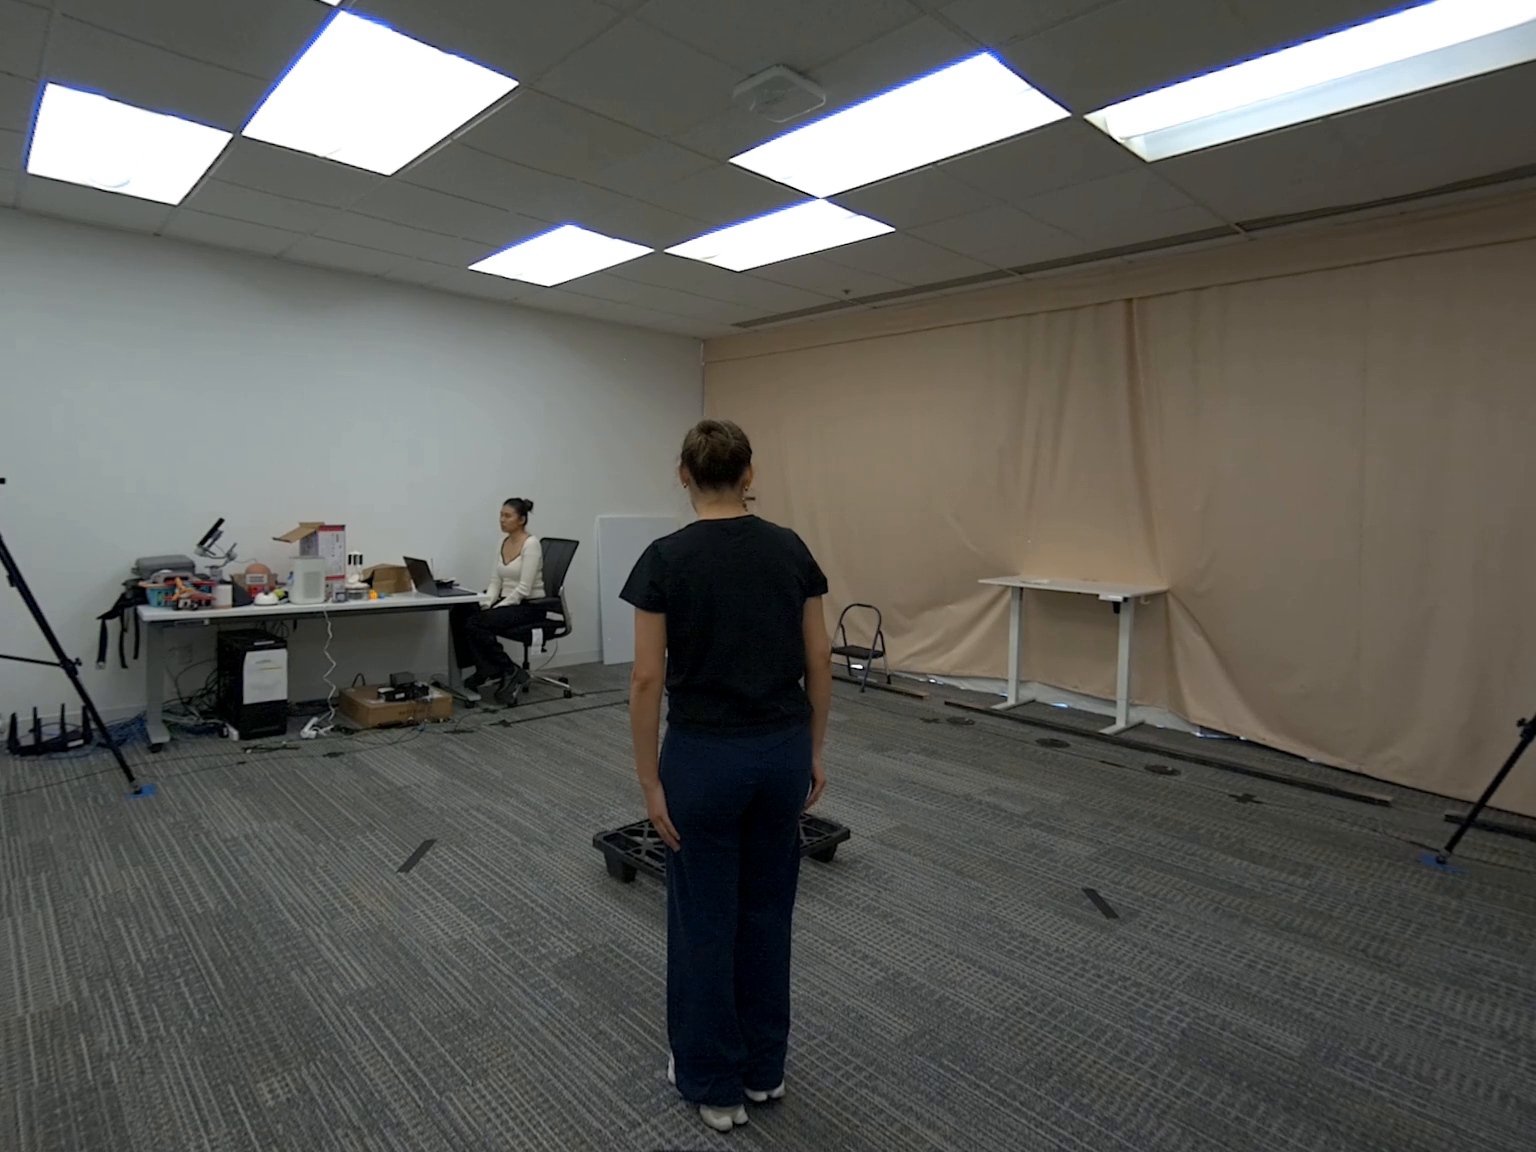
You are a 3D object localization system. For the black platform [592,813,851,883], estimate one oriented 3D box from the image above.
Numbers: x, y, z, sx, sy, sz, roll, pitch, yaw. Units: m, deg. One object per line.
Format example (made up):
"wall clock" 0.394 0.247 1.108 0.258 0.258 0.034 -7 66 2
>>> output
"black platform" -0.170 1.037 3.157 0.620 0.143 0.787 5 6 45
